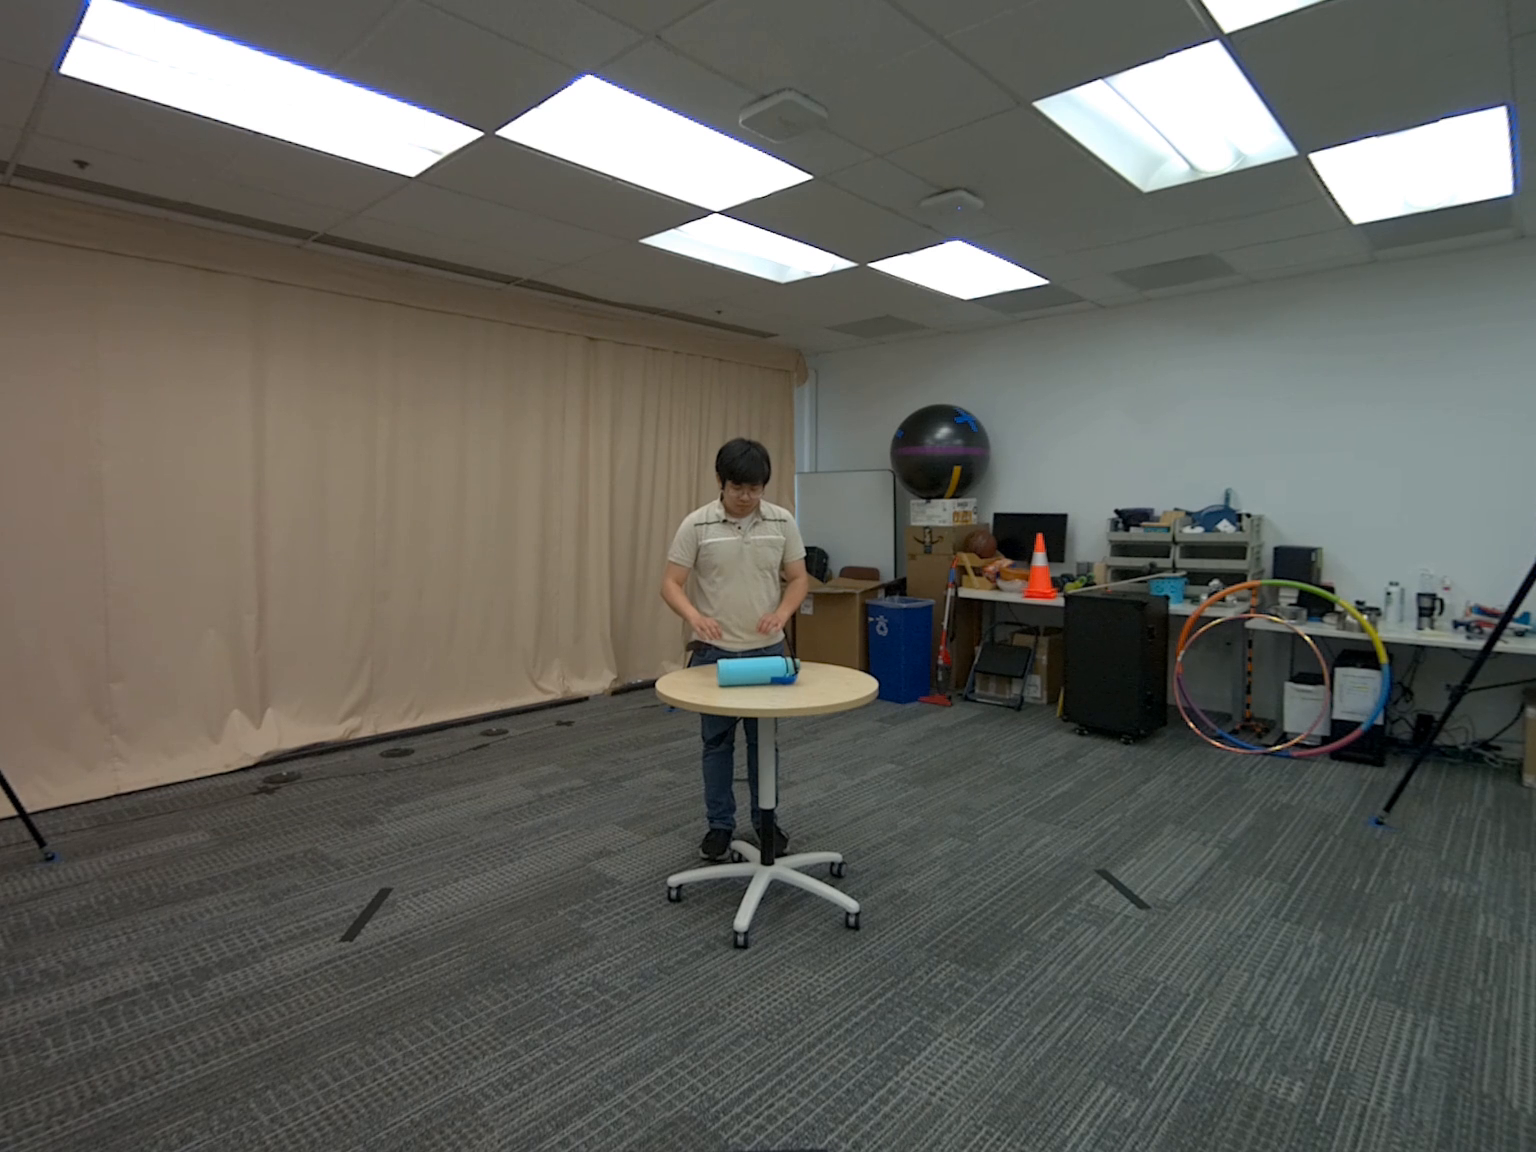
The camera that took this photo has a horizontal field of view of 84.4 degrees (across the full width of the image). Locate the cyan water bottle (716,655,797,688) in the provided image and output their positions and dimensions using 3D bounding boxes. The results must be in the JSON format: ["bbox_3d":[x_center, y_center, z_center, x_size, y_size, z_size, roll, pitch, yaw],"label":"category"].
[{"bbox_3d":[-0.031,0.322,2.875,0.282,0.092,0.093,-1,4,-5],"label":"cyan water bottle"}]
